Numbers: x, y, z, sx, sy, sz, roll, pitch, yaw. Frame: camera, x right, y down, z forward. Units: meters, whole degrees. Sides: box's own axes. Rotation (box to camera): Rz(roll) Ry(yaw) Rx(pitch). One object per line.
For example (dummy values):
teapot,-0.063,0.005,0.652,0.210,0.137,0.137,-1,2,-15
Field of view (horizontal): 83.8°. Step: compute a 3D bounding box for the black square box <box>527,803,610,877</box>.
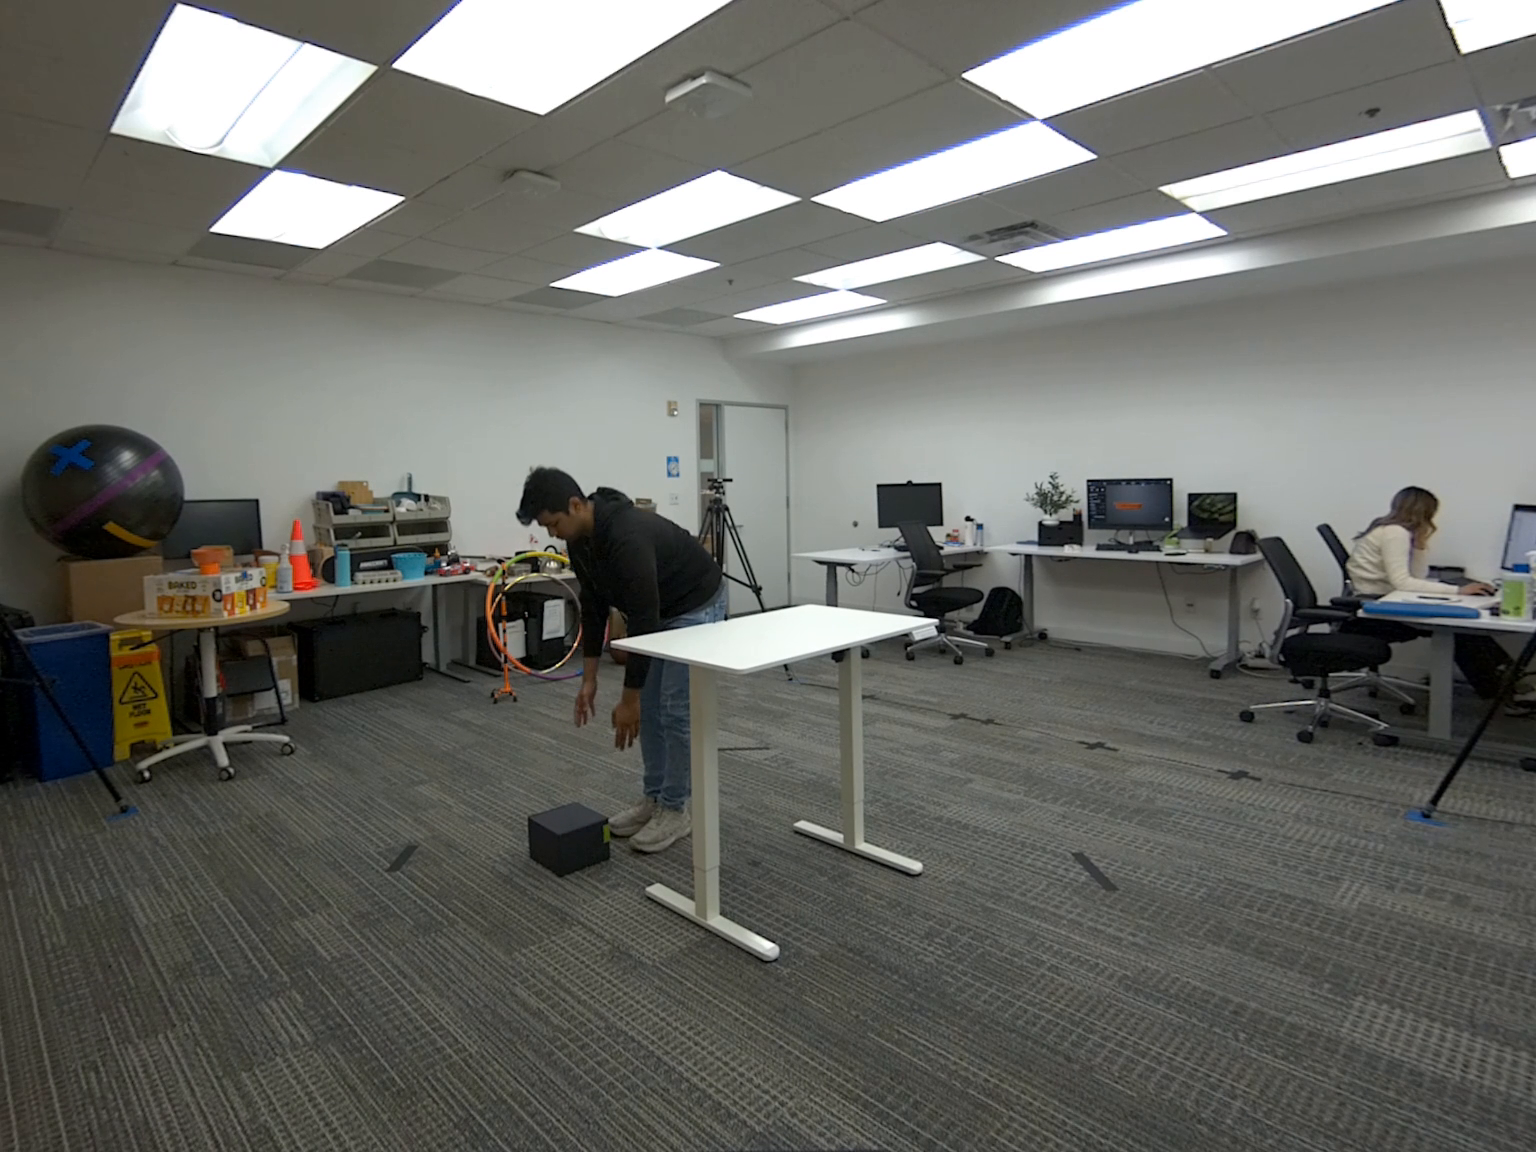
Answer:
black square box,-0.730,0.964,3.166,0.211,0.155,0.235,-7,7,-42
